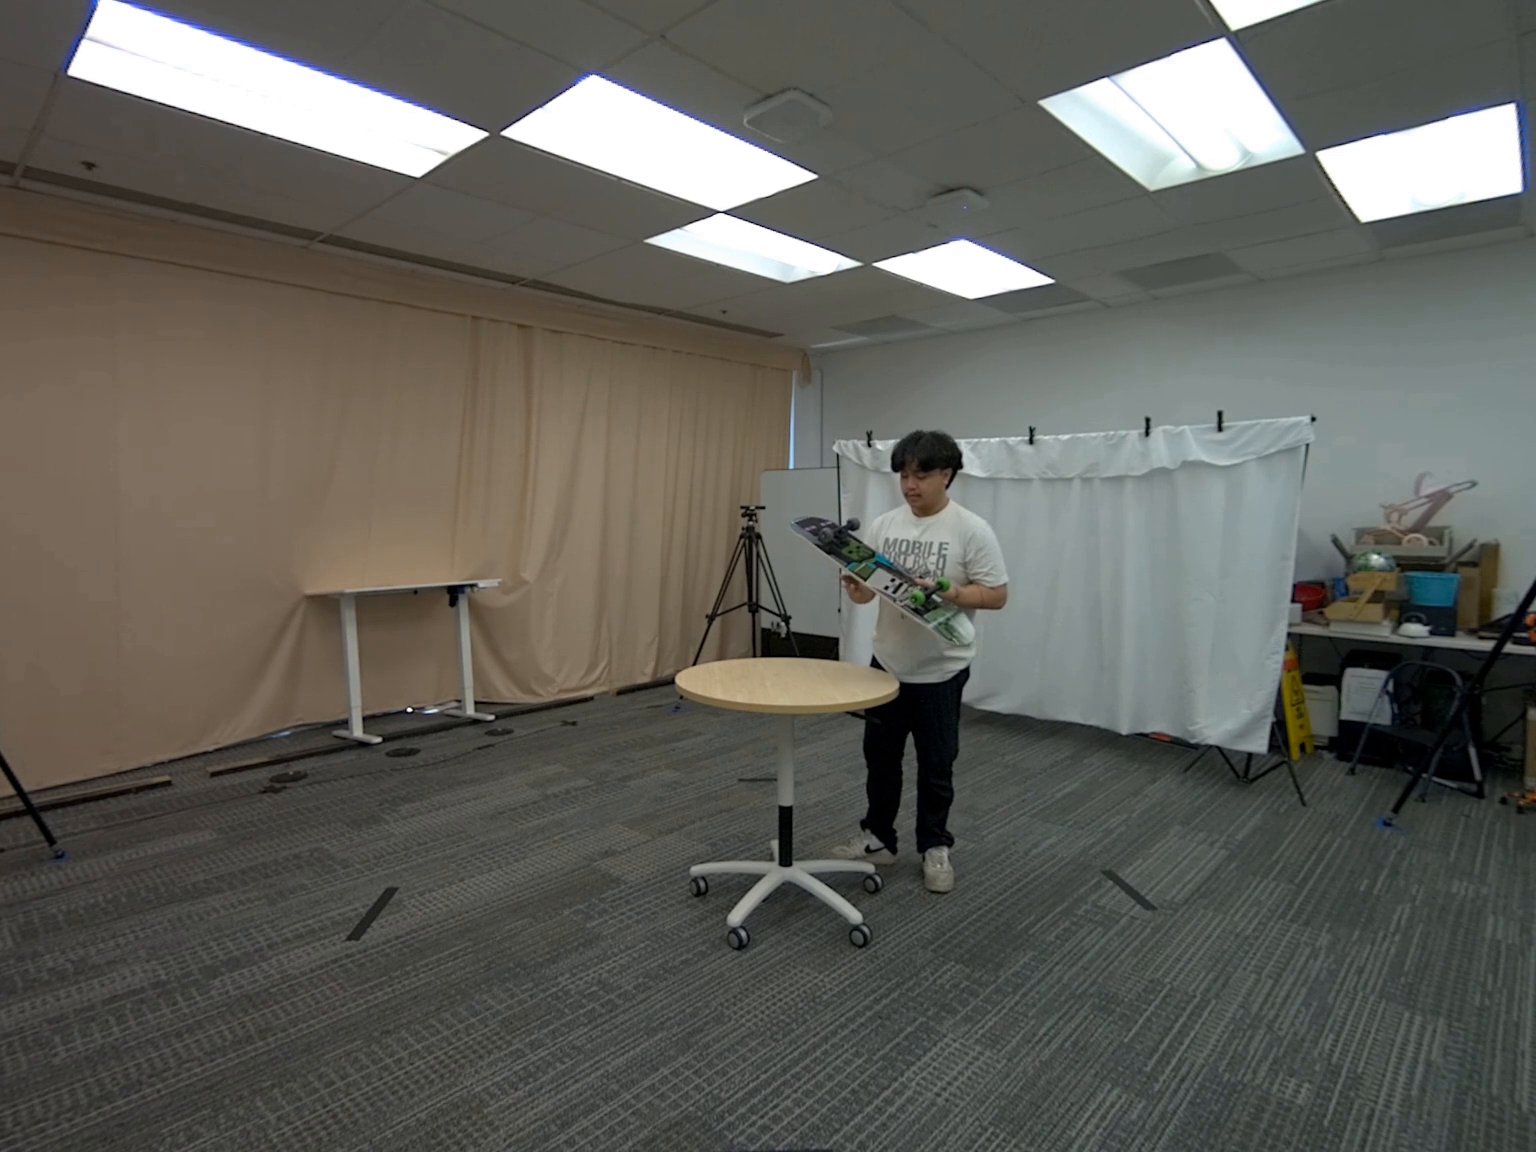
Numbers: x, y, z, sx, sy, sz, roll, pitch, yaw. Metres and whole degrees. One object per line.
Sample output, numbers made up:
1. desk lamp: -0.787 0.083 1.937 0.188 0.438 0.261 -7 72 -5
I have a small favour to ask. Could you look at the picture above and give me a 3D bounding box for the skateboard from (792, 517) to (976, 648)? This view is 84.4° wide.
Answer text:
1. skateboard: 0.394 -0.030 2.892 0.189 0.109 0.811 -20 49 -40
